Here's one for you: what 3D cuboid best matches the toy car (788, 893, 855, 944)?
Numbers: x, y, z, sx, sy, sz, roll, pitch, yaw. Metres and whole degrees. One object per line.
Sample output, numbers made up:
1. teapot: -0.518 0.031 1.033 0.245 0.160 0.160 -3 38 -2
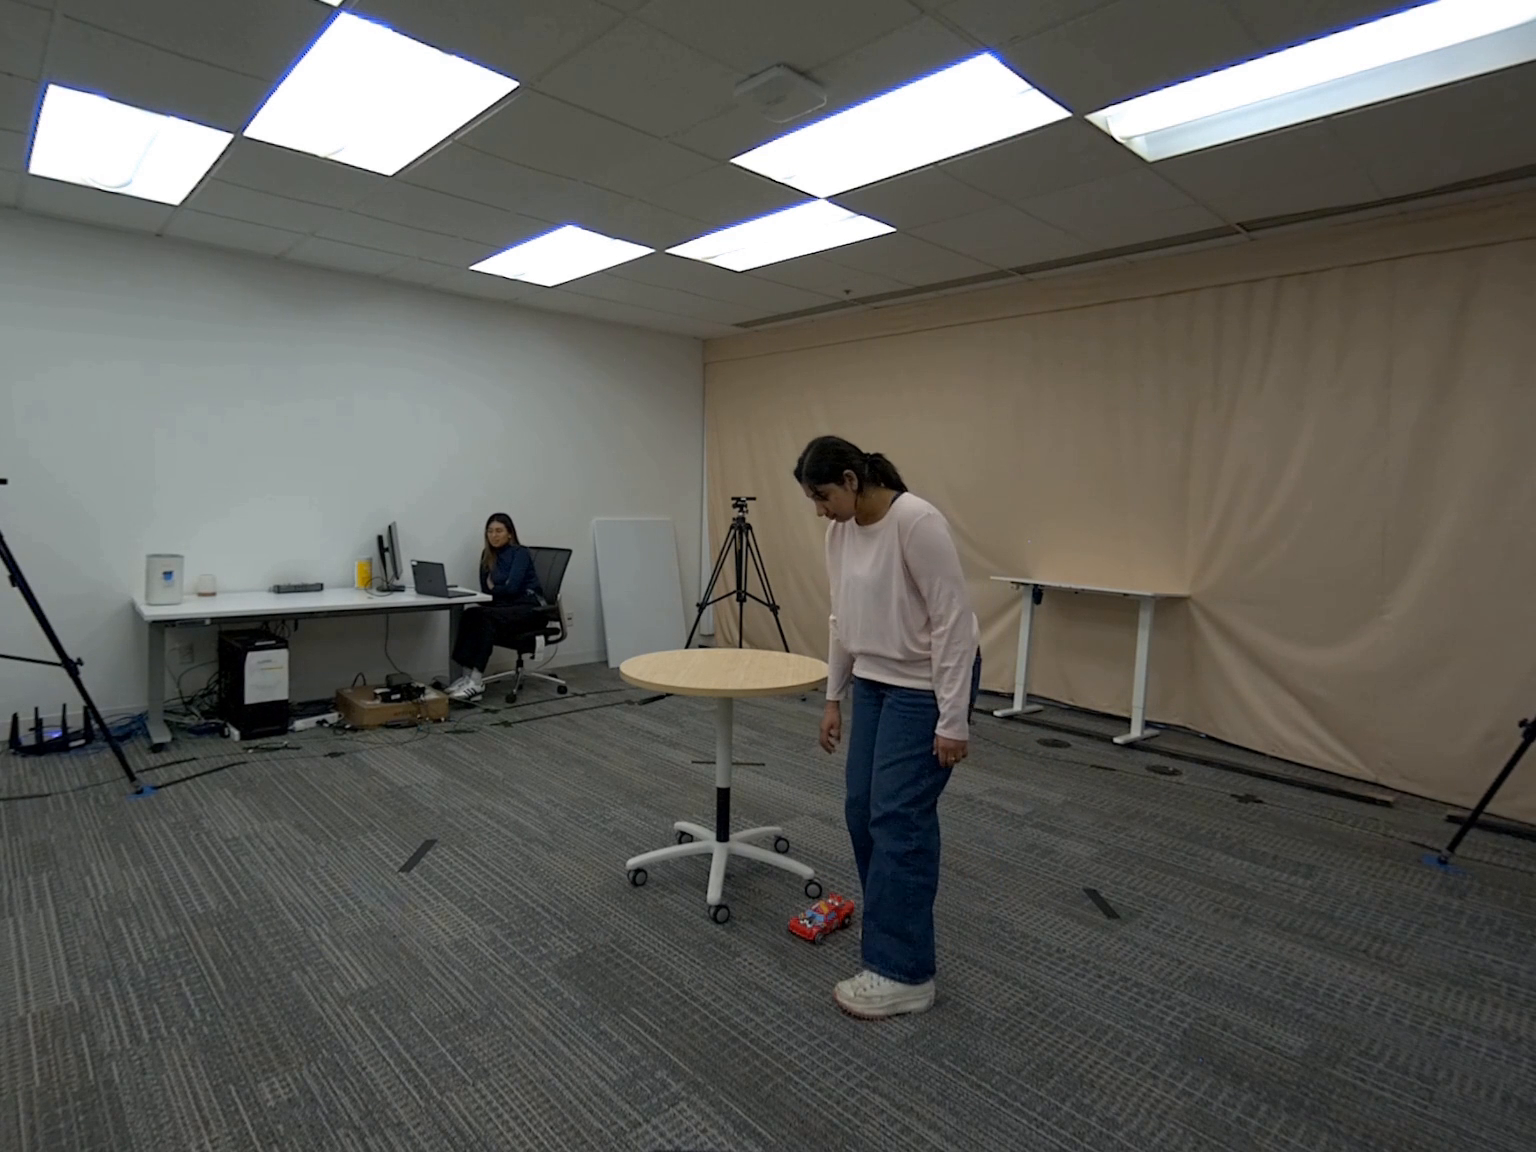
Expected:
1. toy car: 0.179 1.112 2.738 0.133 0.082 0.250 6 17 43
